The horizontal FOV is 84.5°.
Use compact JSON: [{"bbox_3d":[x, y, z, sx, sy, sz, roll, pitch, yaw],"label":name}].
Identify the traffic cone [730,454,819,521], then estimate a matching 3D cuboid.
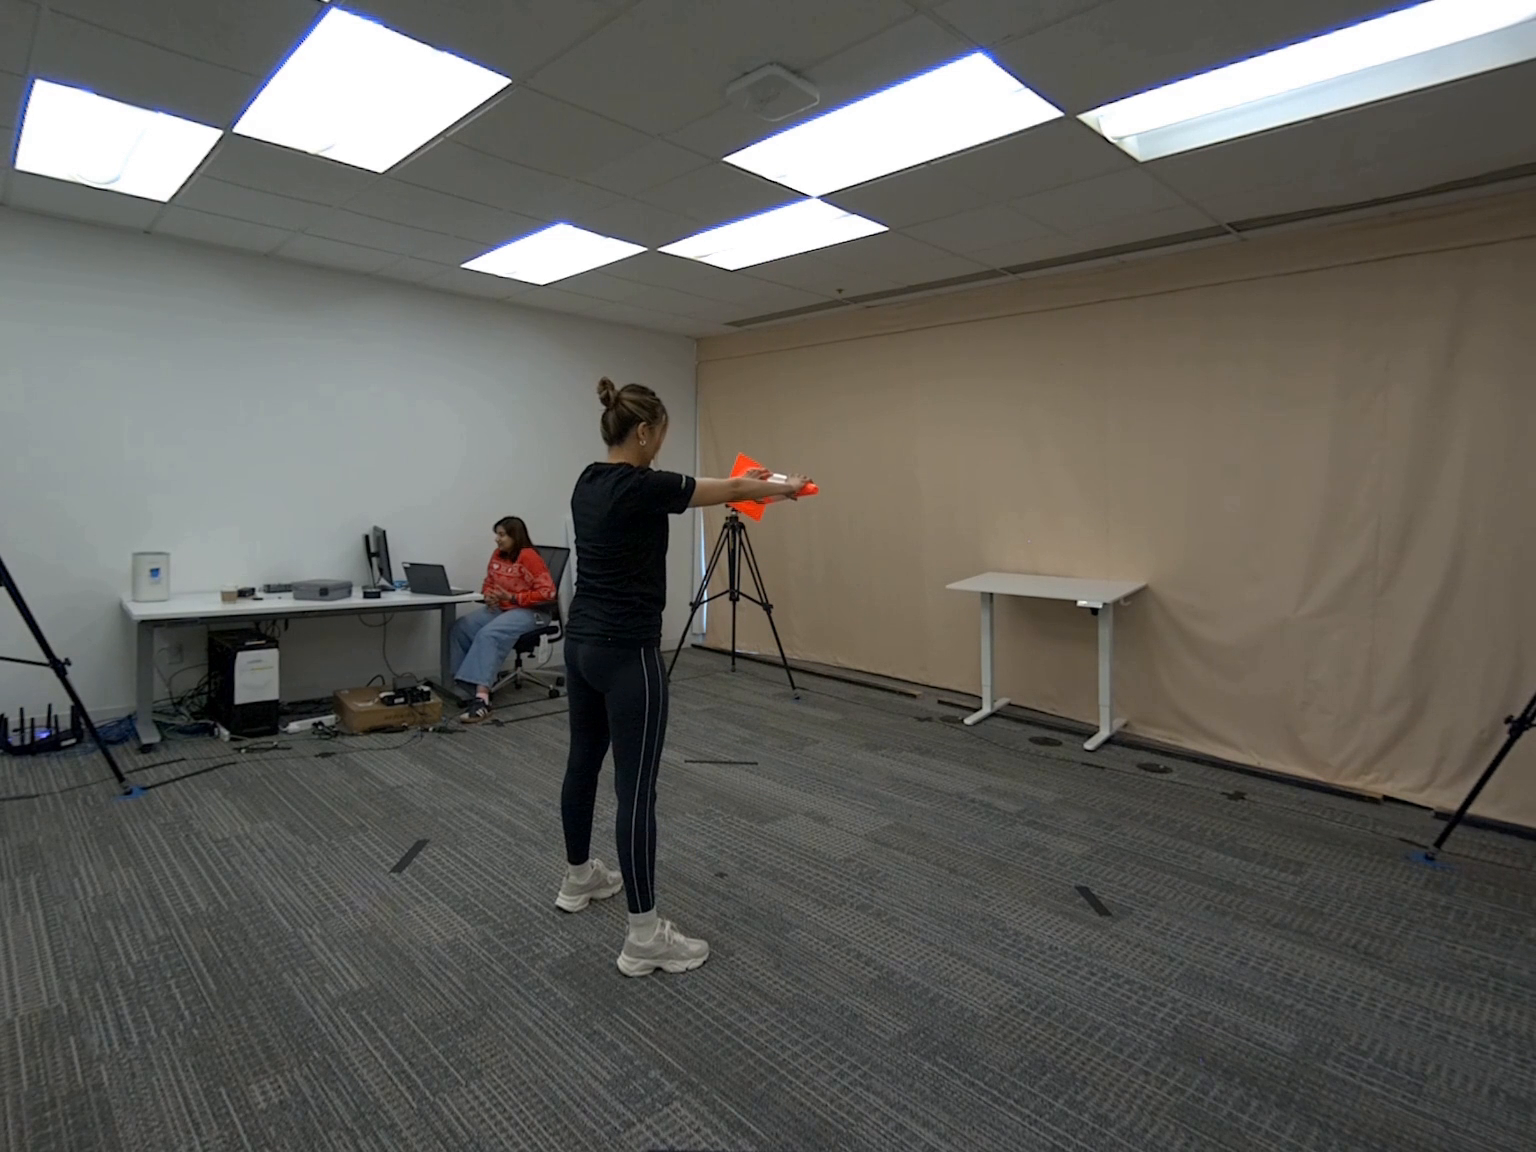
[{"bbox_3d":[0.033,-0.311,3.010,0.197,0.206,0.393,29,-11,-35],"label":"traffic cone"}]
